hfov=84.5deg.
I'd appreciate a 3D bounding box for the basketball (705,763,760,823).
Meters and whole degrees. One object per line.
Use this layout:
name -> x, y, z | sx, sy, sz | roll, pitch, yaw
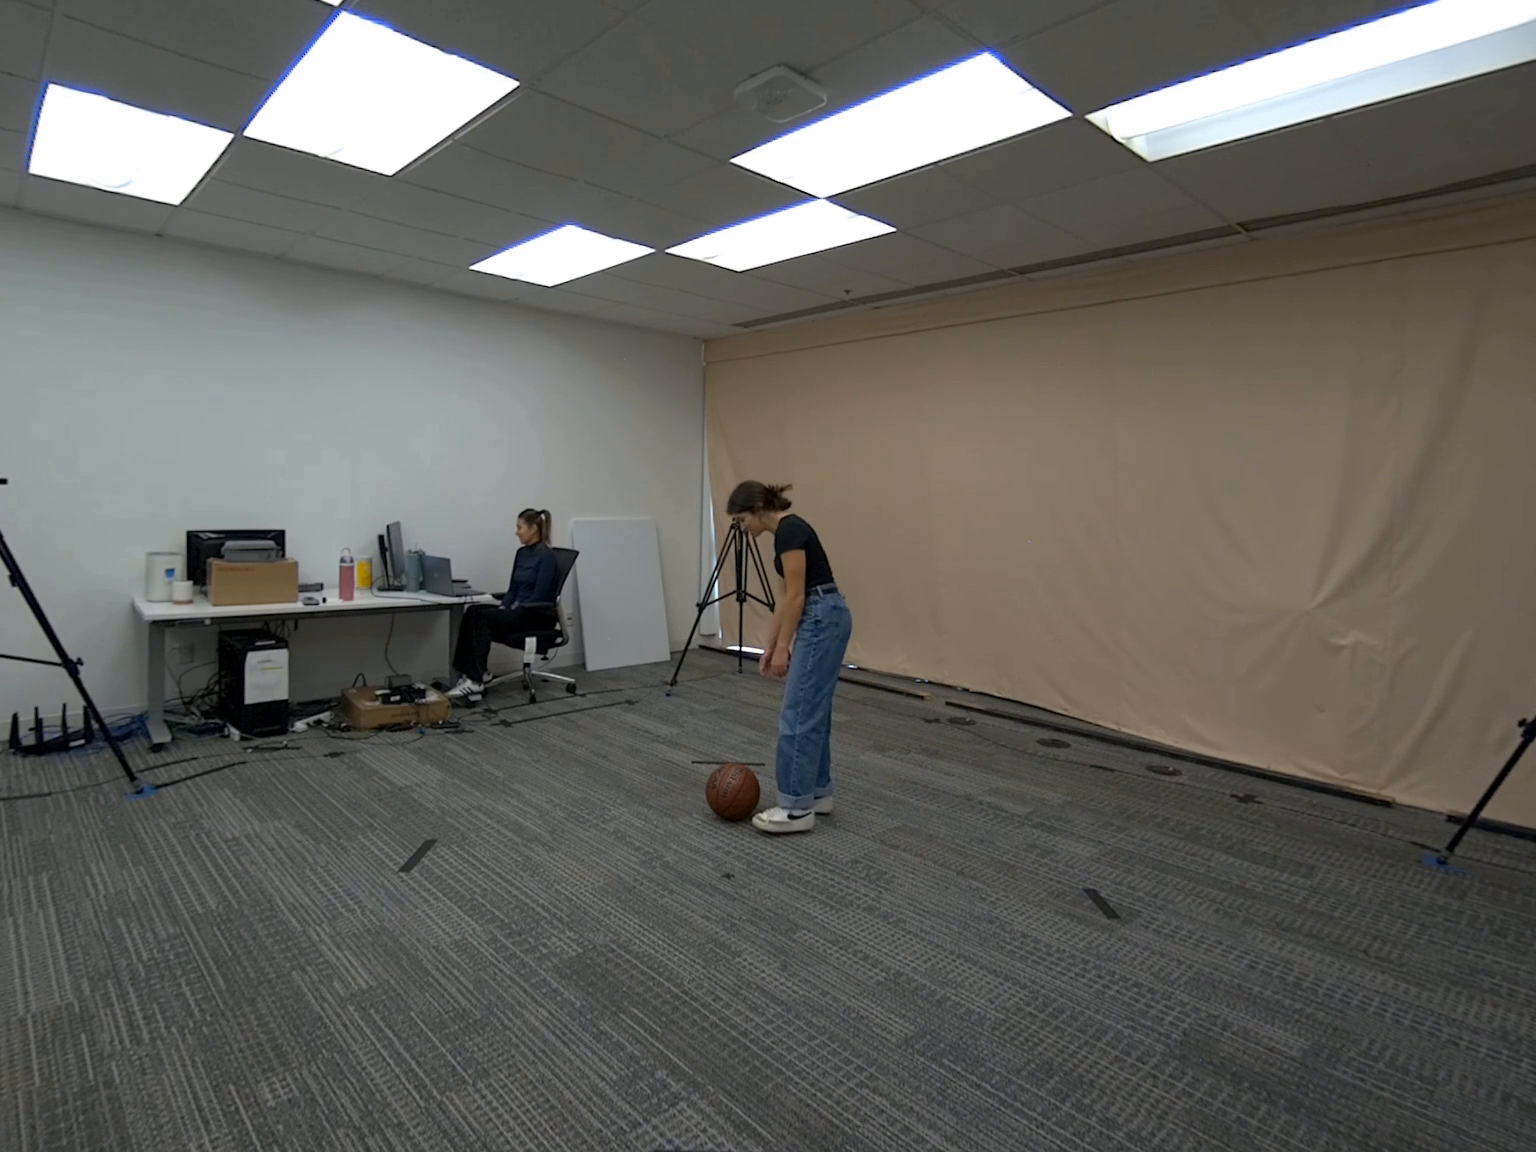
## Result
basketball -> -0.160, 0.936, 3.665 | 0.236, 0.235, 0.237 | 1, 4, -1
